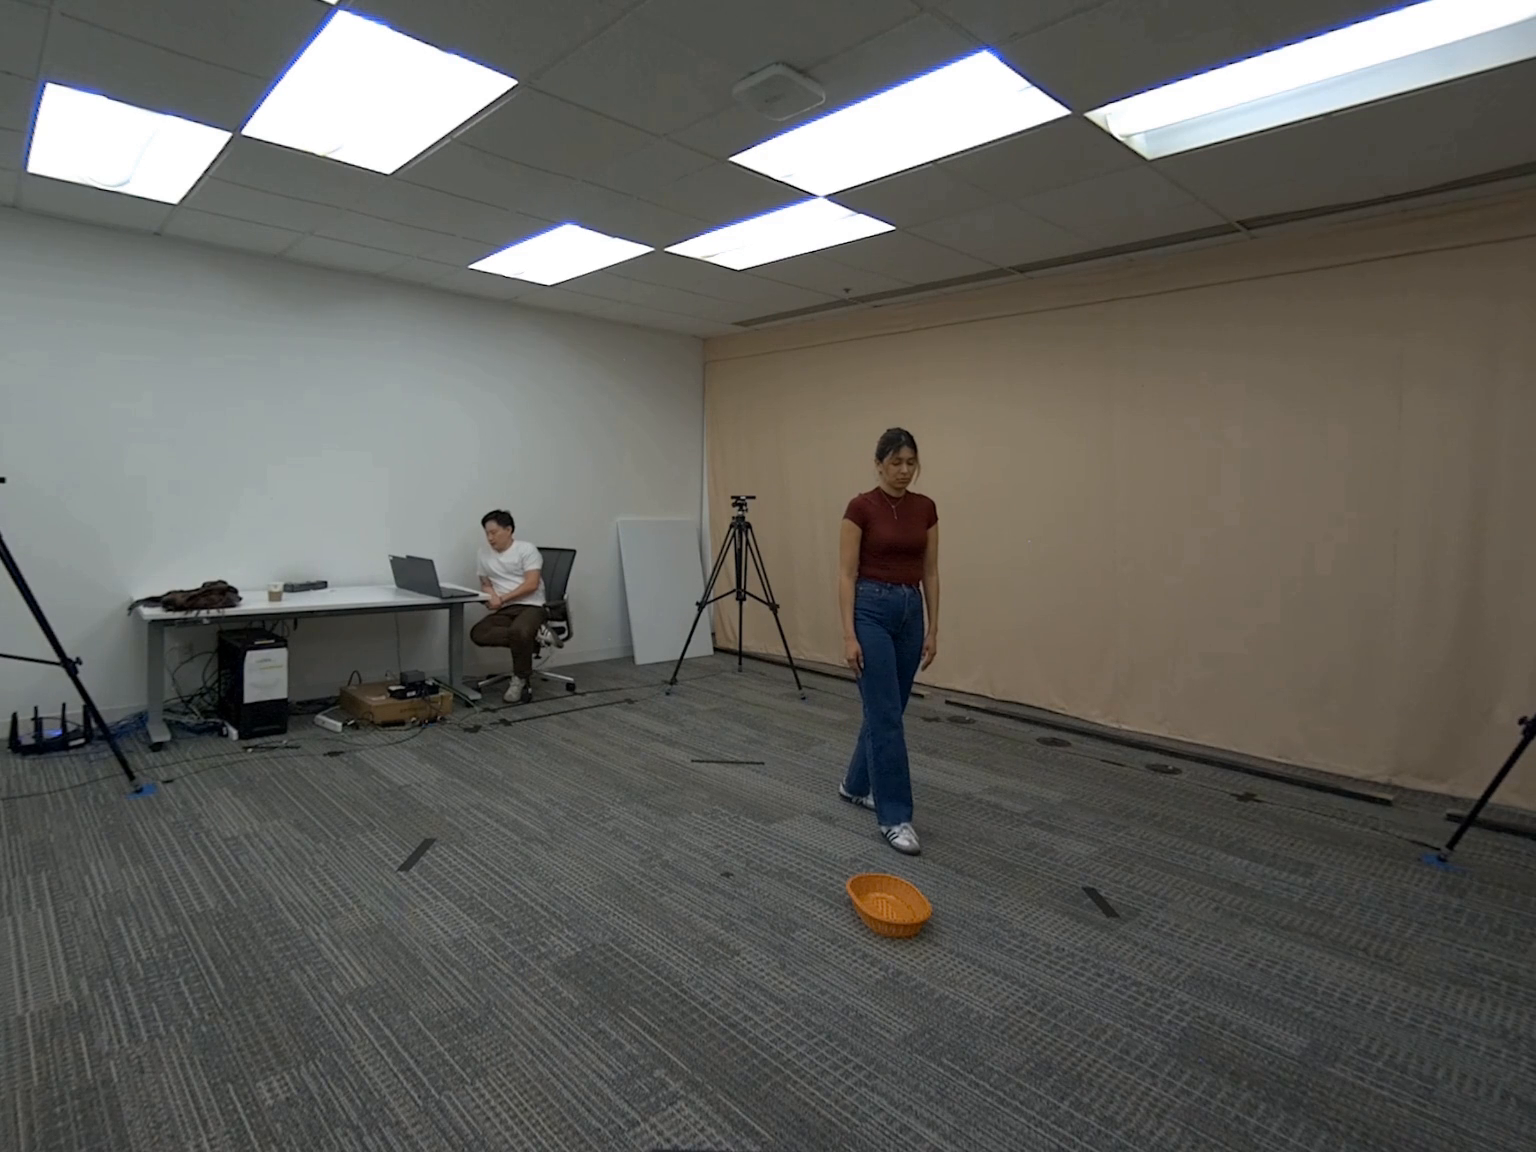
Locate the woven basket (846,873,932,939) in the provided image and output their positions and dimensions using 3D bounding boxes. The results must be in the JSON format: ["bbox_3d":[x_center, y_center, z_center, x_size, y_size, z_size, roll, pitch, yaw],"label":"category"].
[{"bbox_3d":[0.394,1.104,2.814,0.250,0.073,0.355,1,5,-13],"label":"woven basket"}]
